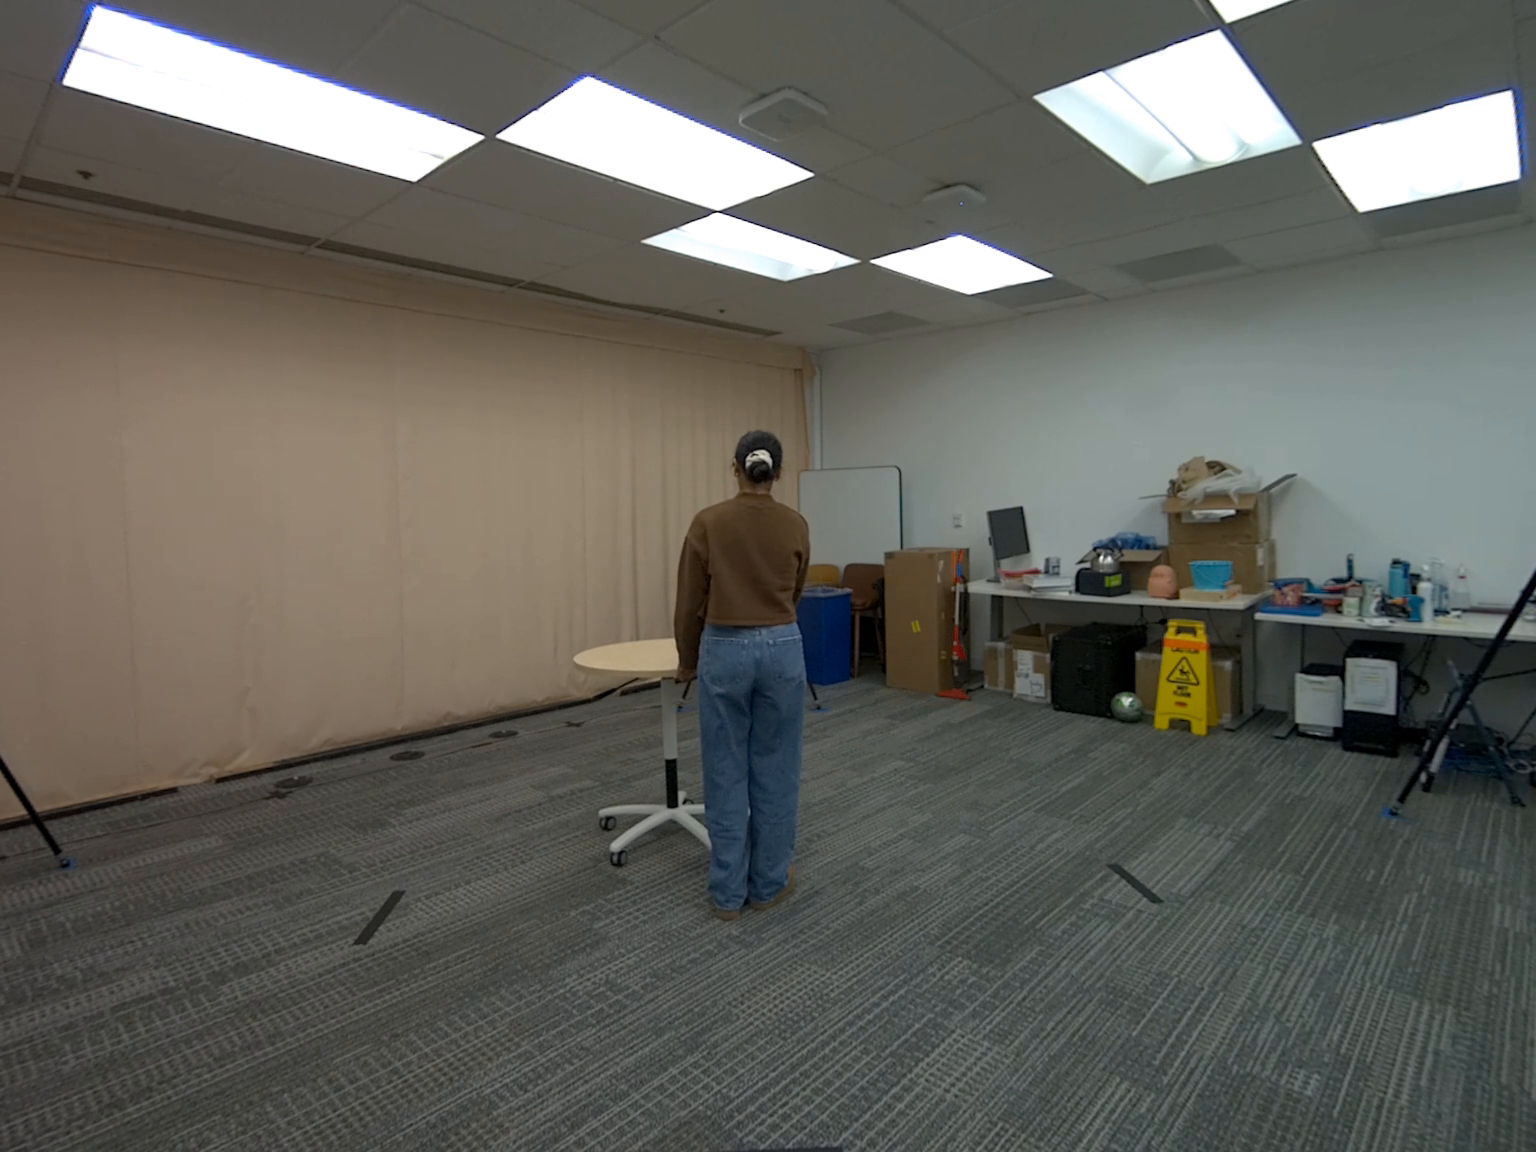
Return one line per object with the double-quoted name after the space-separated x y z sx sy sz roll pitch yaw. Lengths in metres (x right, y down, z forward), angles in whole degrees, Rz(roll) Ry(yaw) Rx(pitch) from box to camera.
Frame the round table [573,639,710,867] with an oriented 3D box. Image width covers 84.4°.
-0.386 0.708 3.504 0.784 0.784 0.788 -3 4 -2 "round table"
